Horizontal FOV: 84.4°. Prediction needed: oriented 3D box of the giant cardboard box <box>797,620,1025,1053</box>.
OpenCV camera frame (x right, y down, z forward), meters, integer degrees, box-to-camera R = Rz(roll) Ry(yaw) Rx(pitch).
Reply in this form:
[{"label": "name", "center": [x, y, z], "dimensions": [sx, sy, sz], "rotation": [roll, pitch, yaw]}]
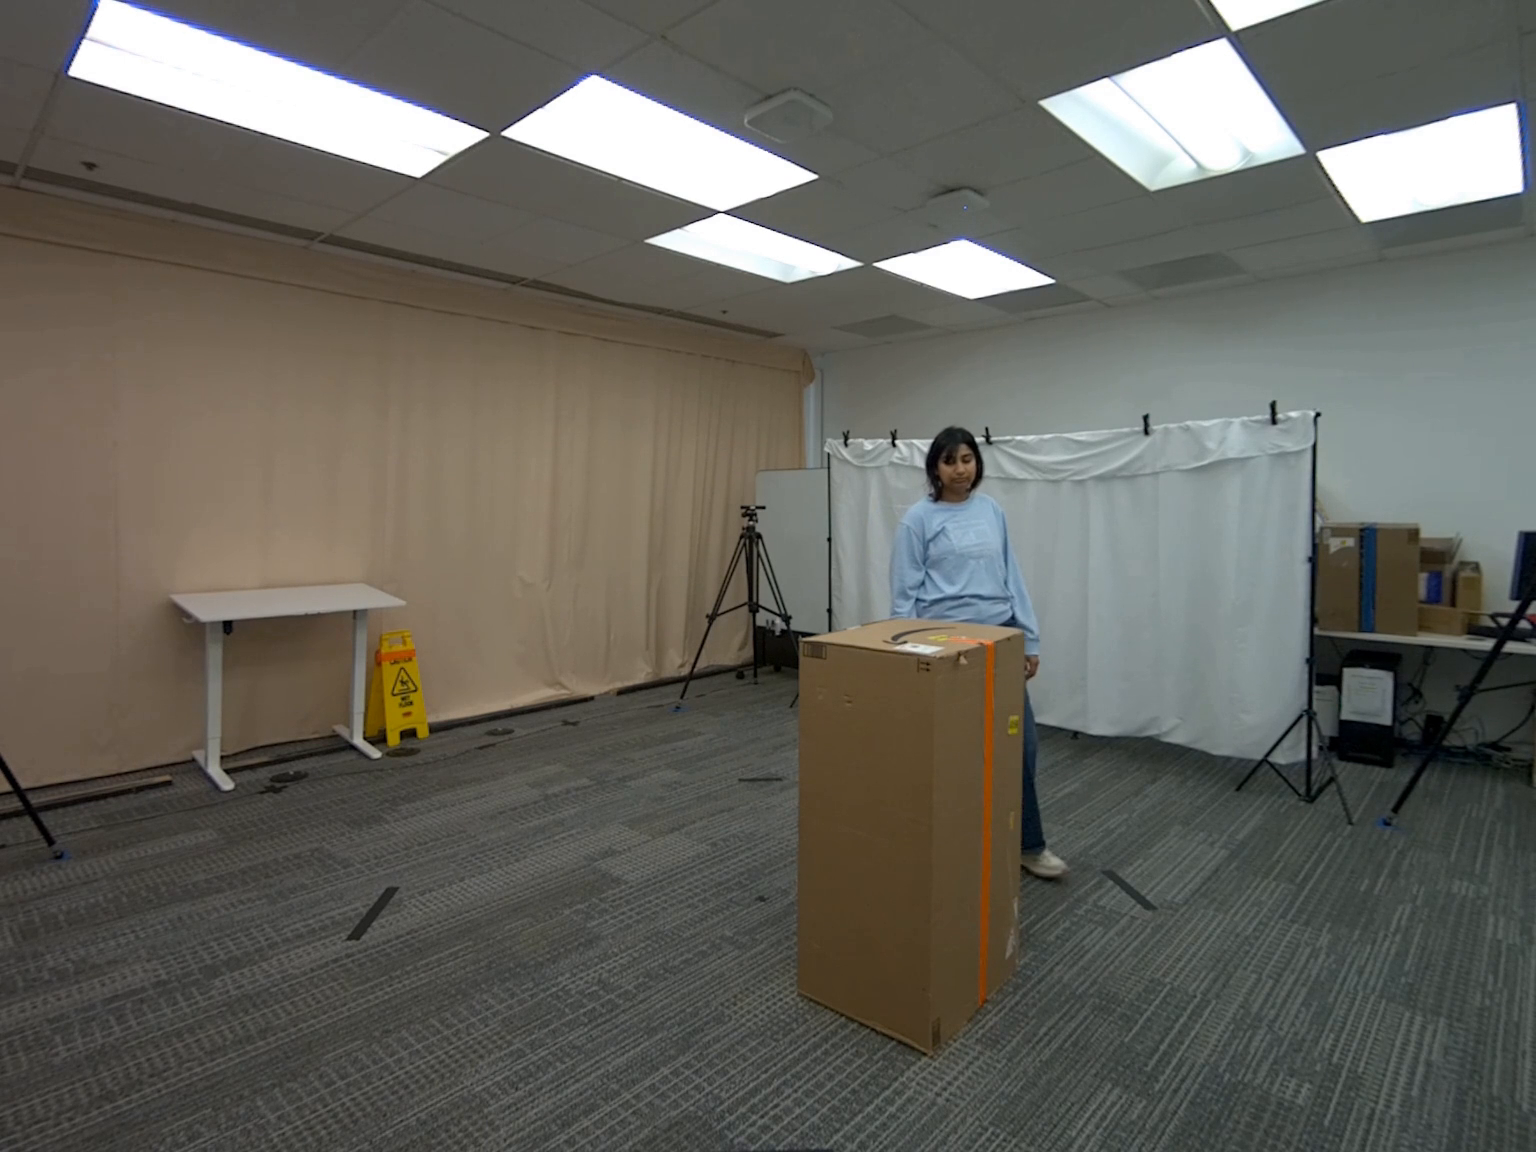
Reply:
[{"label": "giant cardboard box", "center": [0.427, 0.681, 2.447], "dimensions": [0.440, 1.024, 0.560], "rotation": [3, 4, 39]}]
